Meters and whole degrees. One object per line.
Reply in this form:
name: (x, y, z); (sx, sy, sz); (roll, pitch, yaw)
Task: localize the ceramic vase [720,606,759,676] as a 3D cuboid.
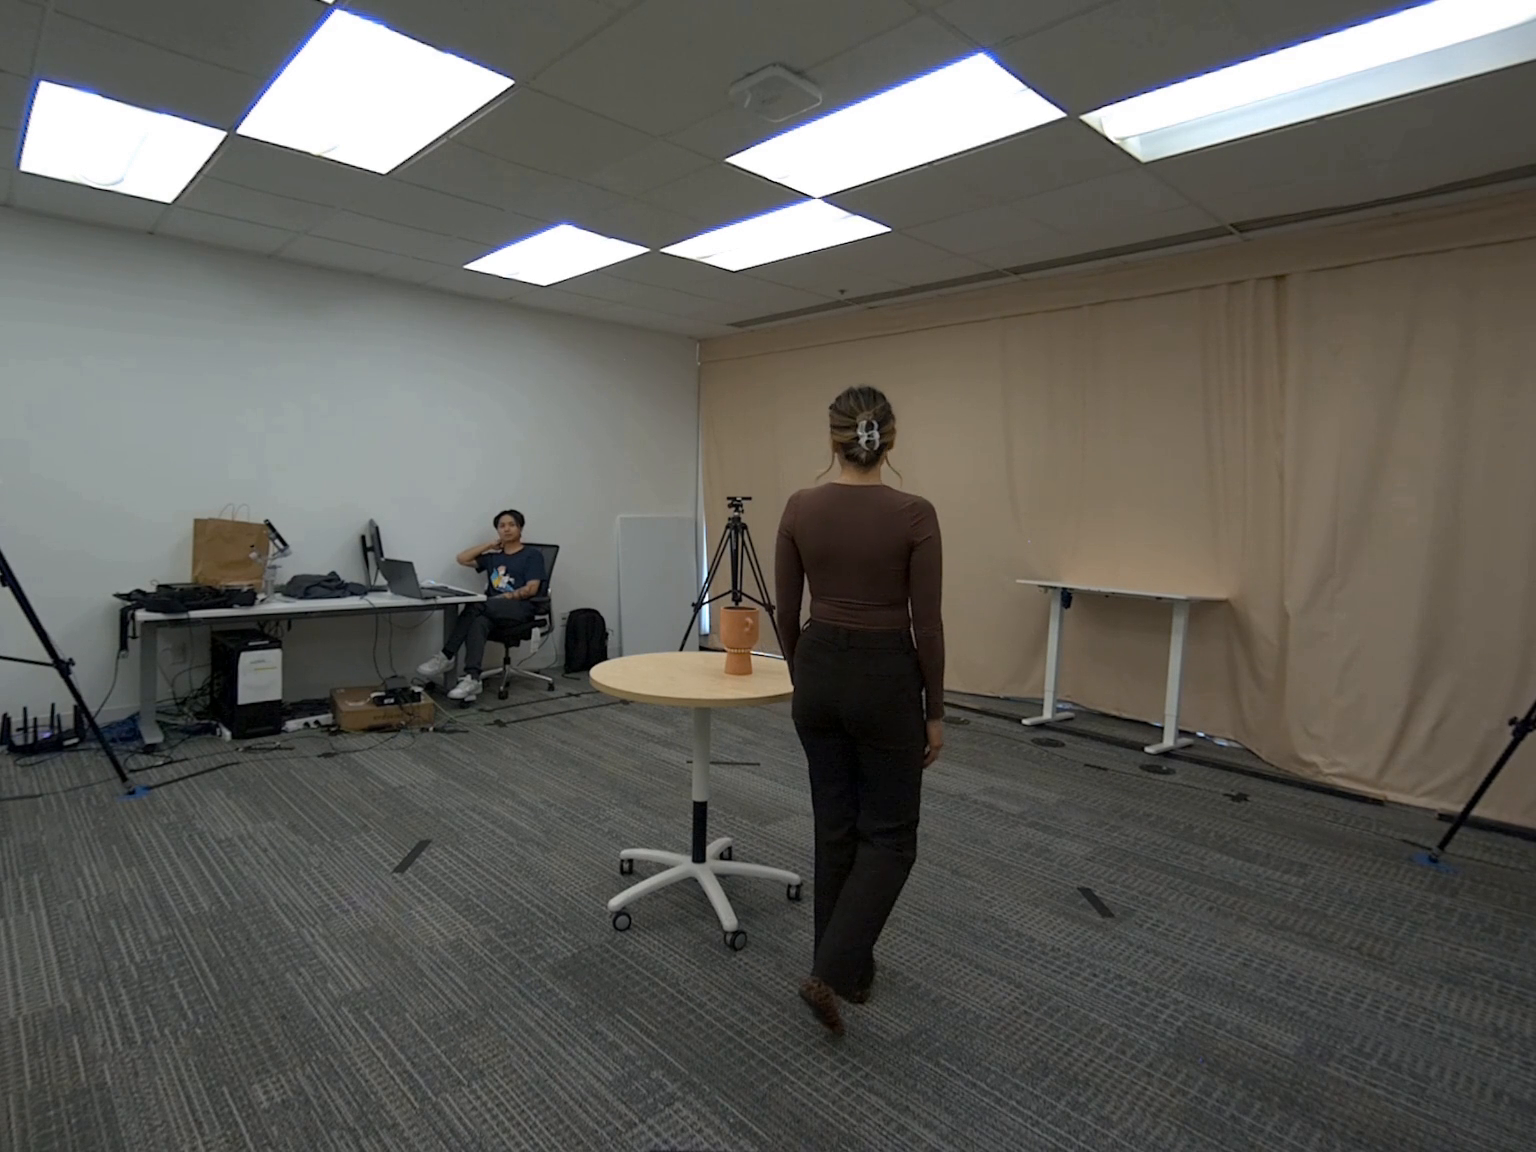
ceramic vase: (-0.101, 0.225, 2.870); (0.136, 0.219, 0.157); (5, 6, 14)
